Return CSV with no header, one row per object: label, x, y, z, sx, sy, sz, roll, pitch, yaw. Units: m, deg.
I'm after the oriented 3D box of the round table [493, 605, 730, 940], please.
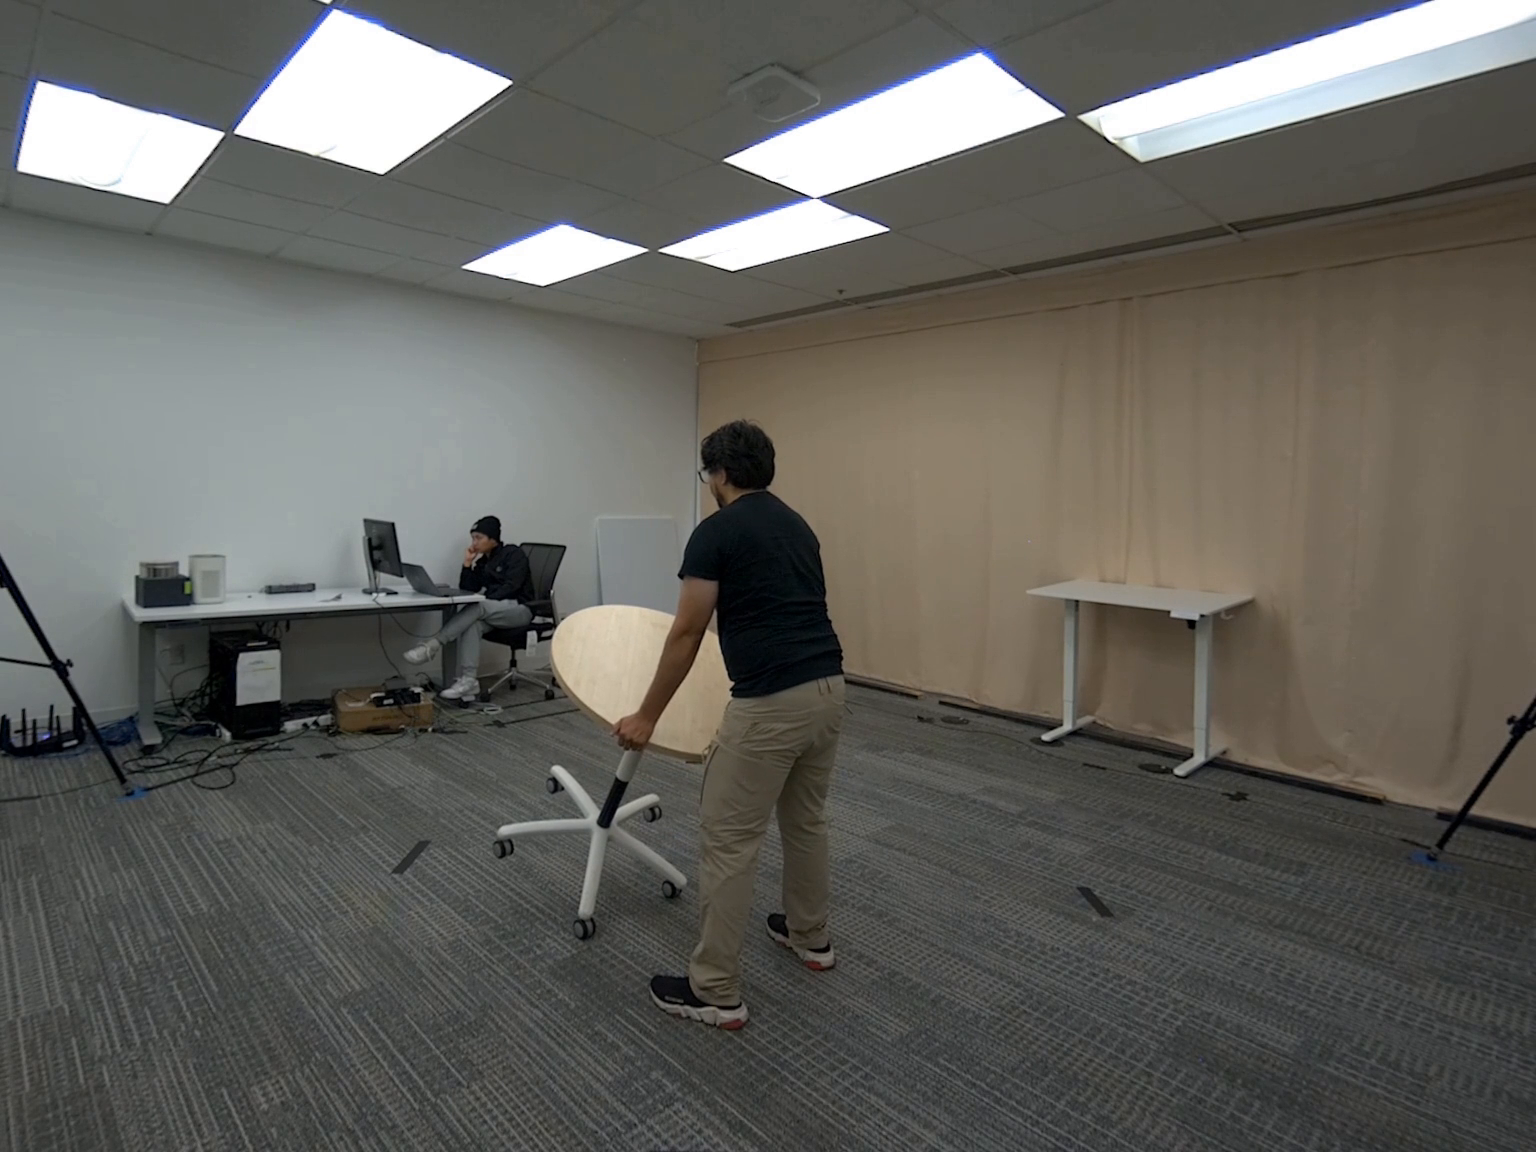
round table,-0.467,0.650,2.826,0.778,0.780,0.798,20,22,-10
